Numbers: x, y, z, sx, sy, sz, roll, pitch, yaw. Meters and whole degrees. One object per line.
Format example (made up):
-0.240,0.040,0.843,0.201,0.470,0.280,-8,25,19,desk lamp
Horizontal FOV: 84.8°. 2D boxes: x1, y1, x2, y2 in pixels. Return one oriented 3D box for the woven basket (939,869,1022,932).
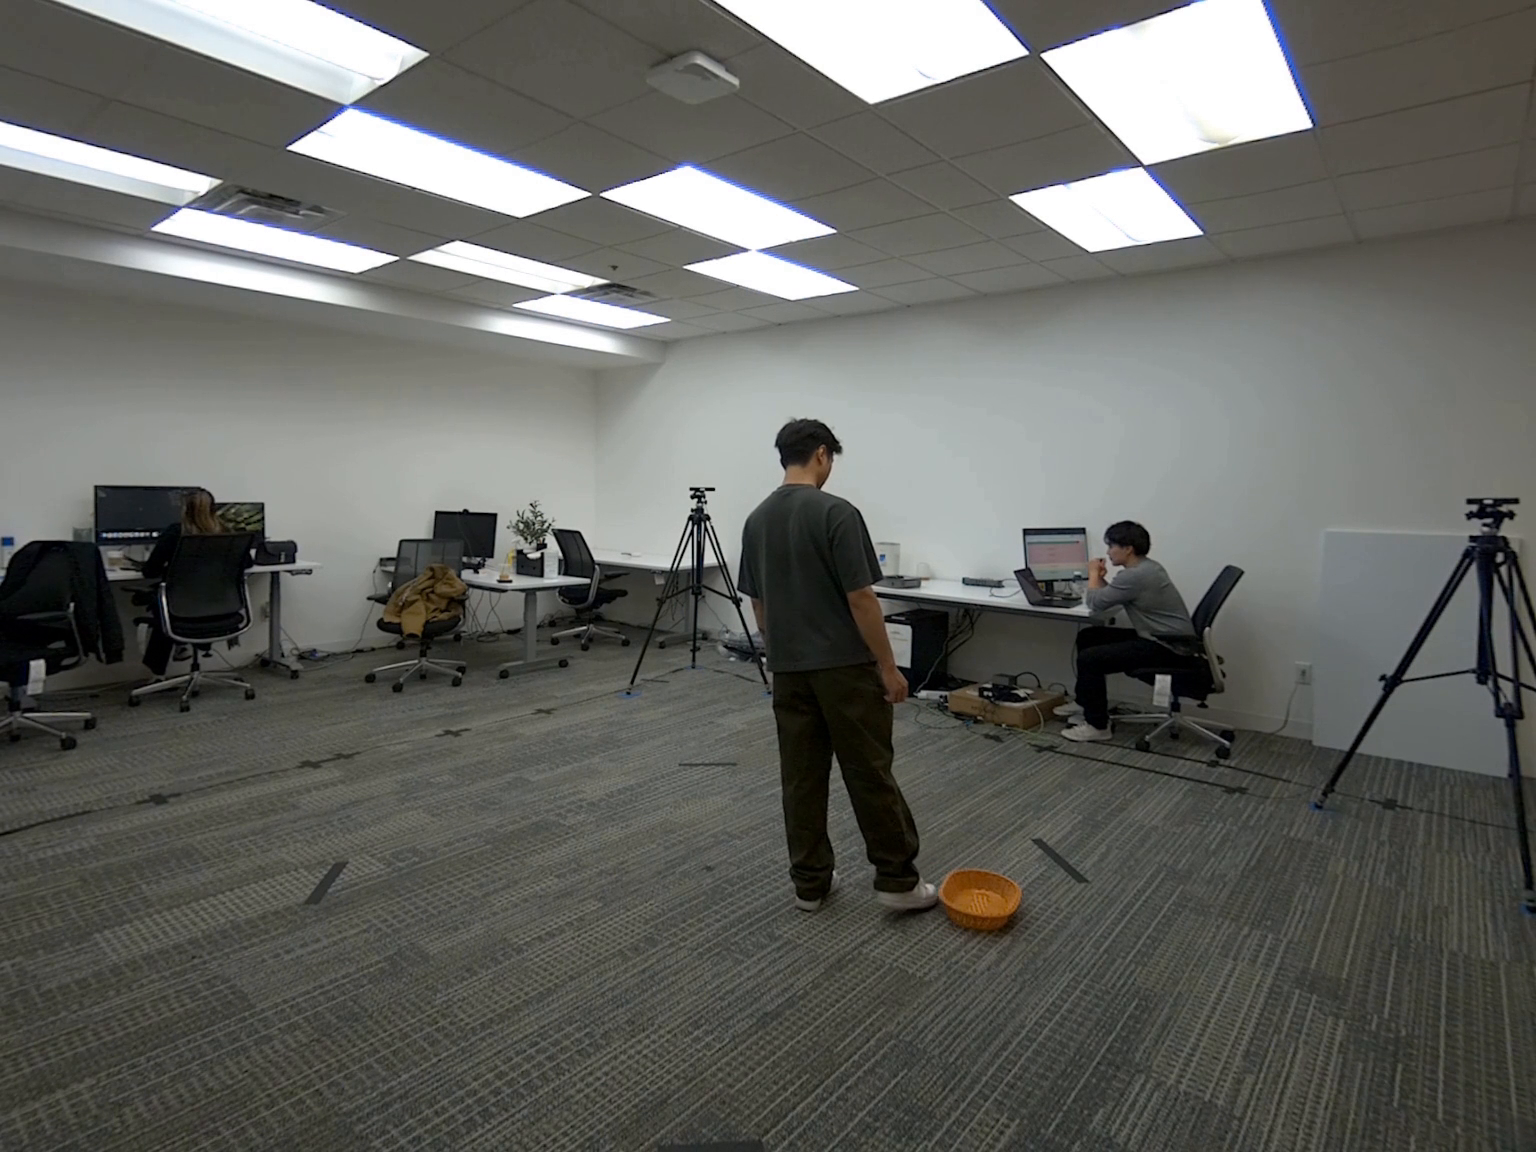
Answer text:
0.701,1.081,2.835,0.260,0.073,0.342,5,7,28,woven basket
